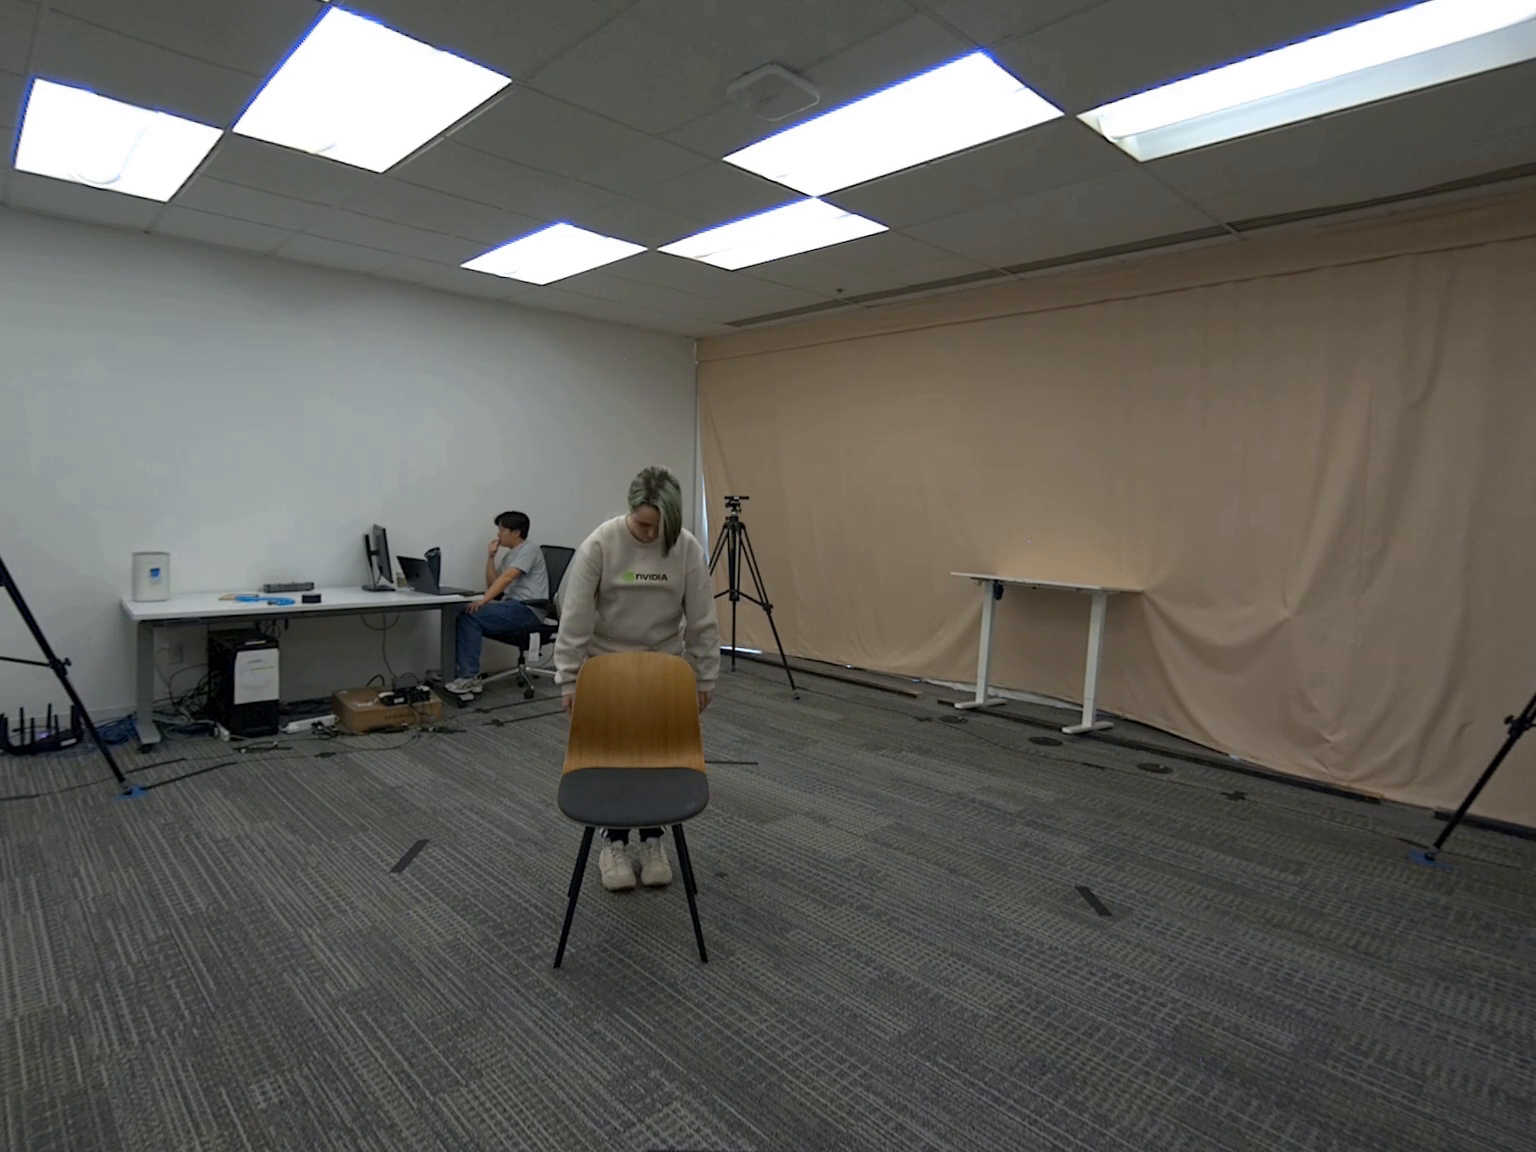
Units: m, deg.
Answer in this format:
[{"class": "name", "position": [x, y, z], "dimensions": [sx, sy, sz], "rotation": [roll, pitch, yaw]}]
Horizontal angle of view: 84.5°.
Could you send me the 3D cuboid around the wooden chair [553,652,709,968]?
[{"class": "wooden chair", "position": [-0.423, 0.711, 2.665], "dimensions": [0.475, 0.878, 0.526], "rotation": [2, -1, -9]}]
